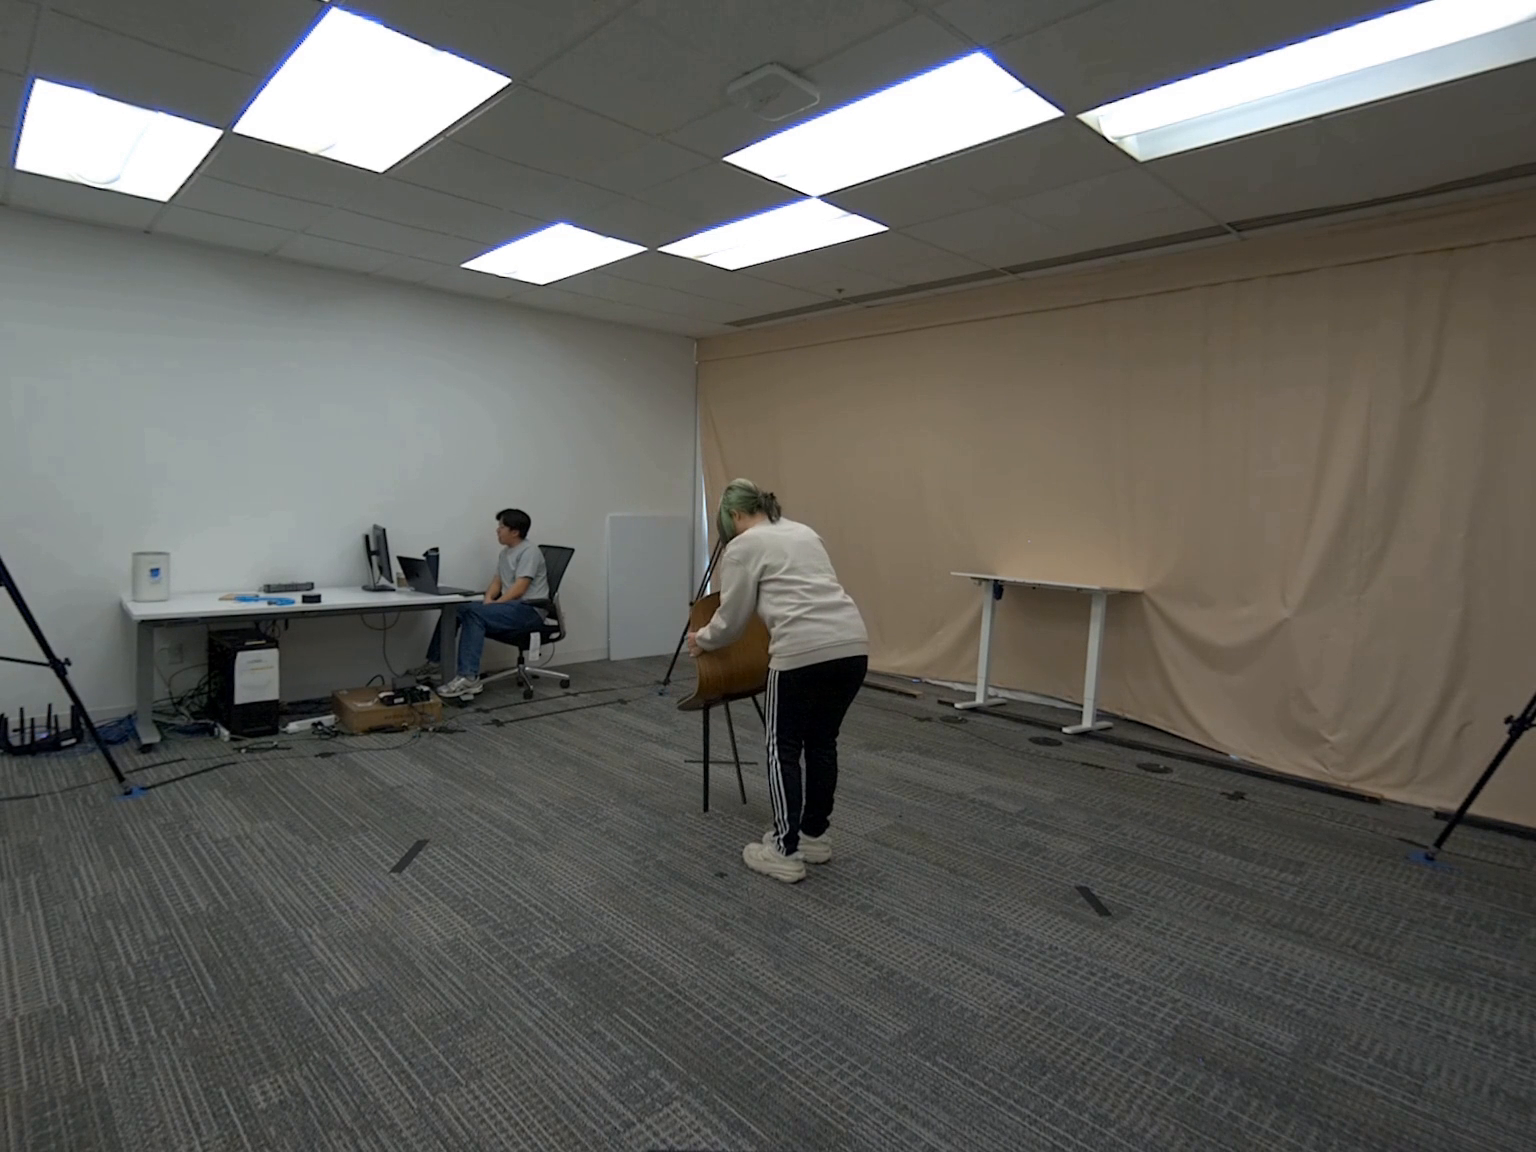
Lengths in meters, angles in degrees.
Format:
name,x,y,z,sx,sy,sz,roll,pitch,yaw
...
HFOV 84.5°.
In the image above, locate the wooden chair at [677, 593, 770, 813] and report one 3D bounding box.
name,x,y,z,sx,sy,sz,roll,pitch,yaw
wooden chair,-0.136,0.524,3.652,0.471,0.885,0.526,-12,-10,-27
